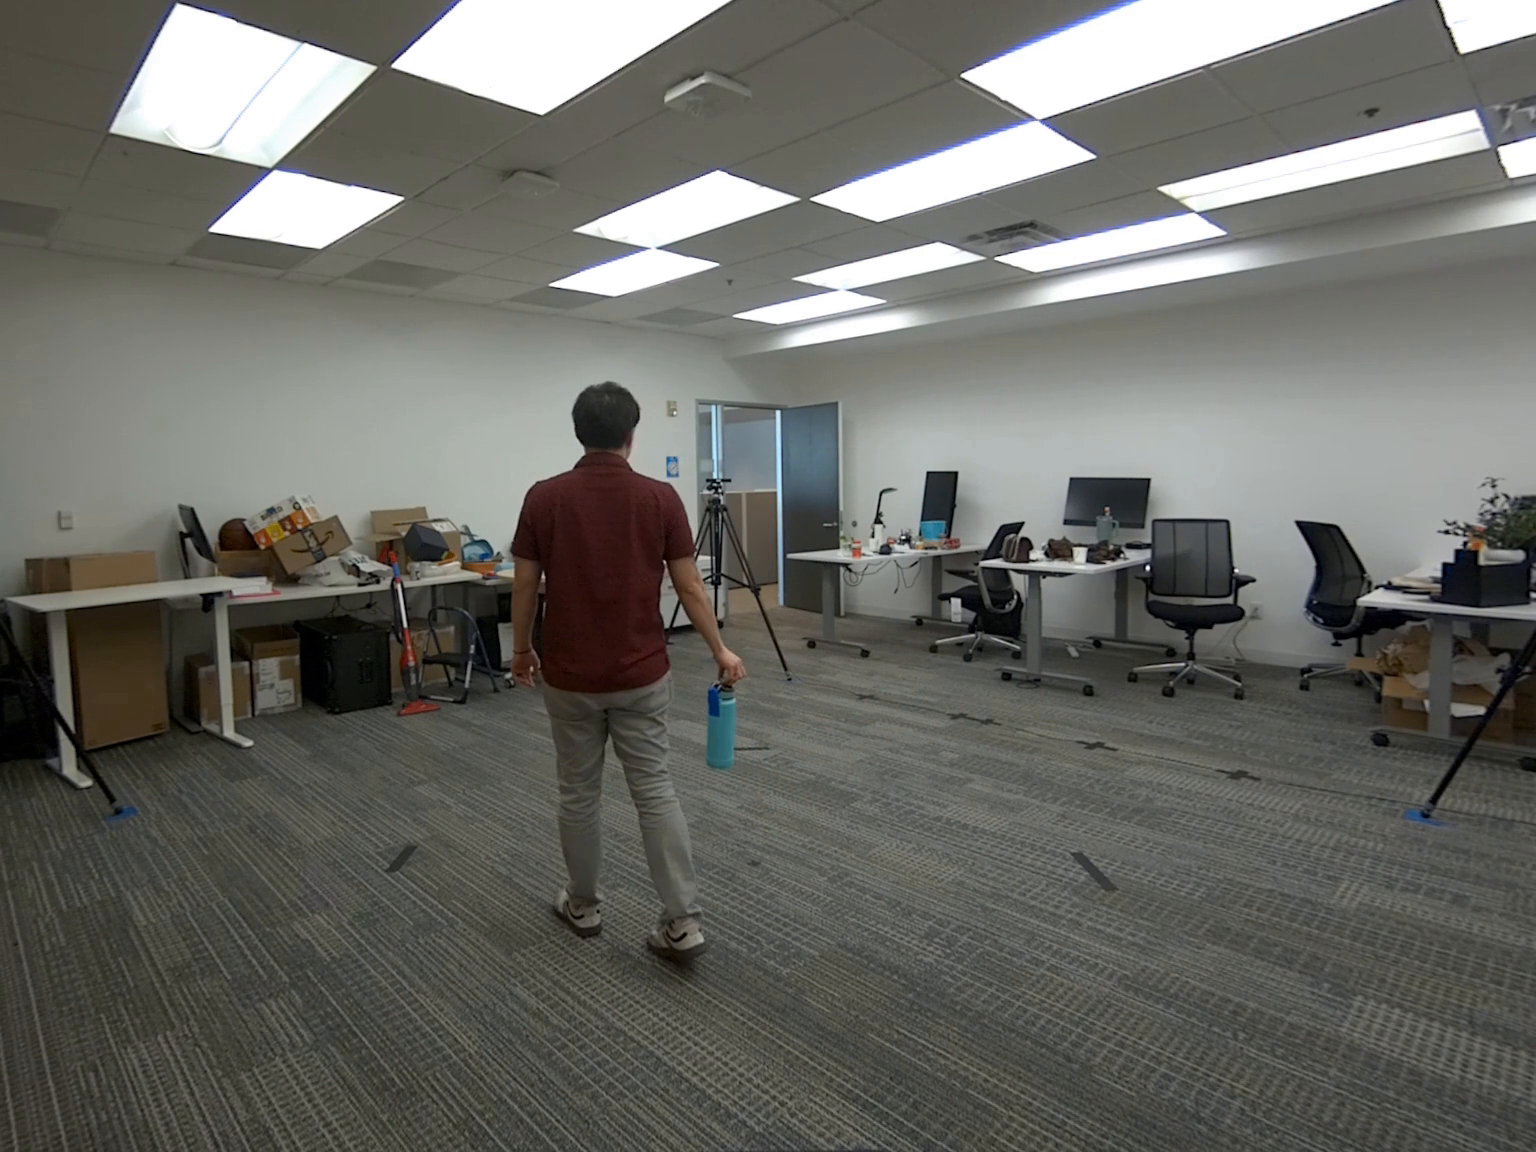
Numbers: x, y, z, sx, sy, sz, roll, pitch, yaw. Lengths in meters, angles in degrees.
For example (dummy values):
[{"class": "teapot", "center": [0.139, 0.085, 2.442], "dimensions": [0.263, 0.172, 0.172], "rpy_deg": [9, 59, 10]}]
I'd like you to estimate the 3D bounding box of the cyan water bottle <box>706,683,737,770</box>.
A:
[{"class": "cyan water bottle", "center": [-0.151, 0.473, 2.729], "dimensions": [0.092, 0.281, 0.093], "rpy_deg": [-2, 9, -1]}]
